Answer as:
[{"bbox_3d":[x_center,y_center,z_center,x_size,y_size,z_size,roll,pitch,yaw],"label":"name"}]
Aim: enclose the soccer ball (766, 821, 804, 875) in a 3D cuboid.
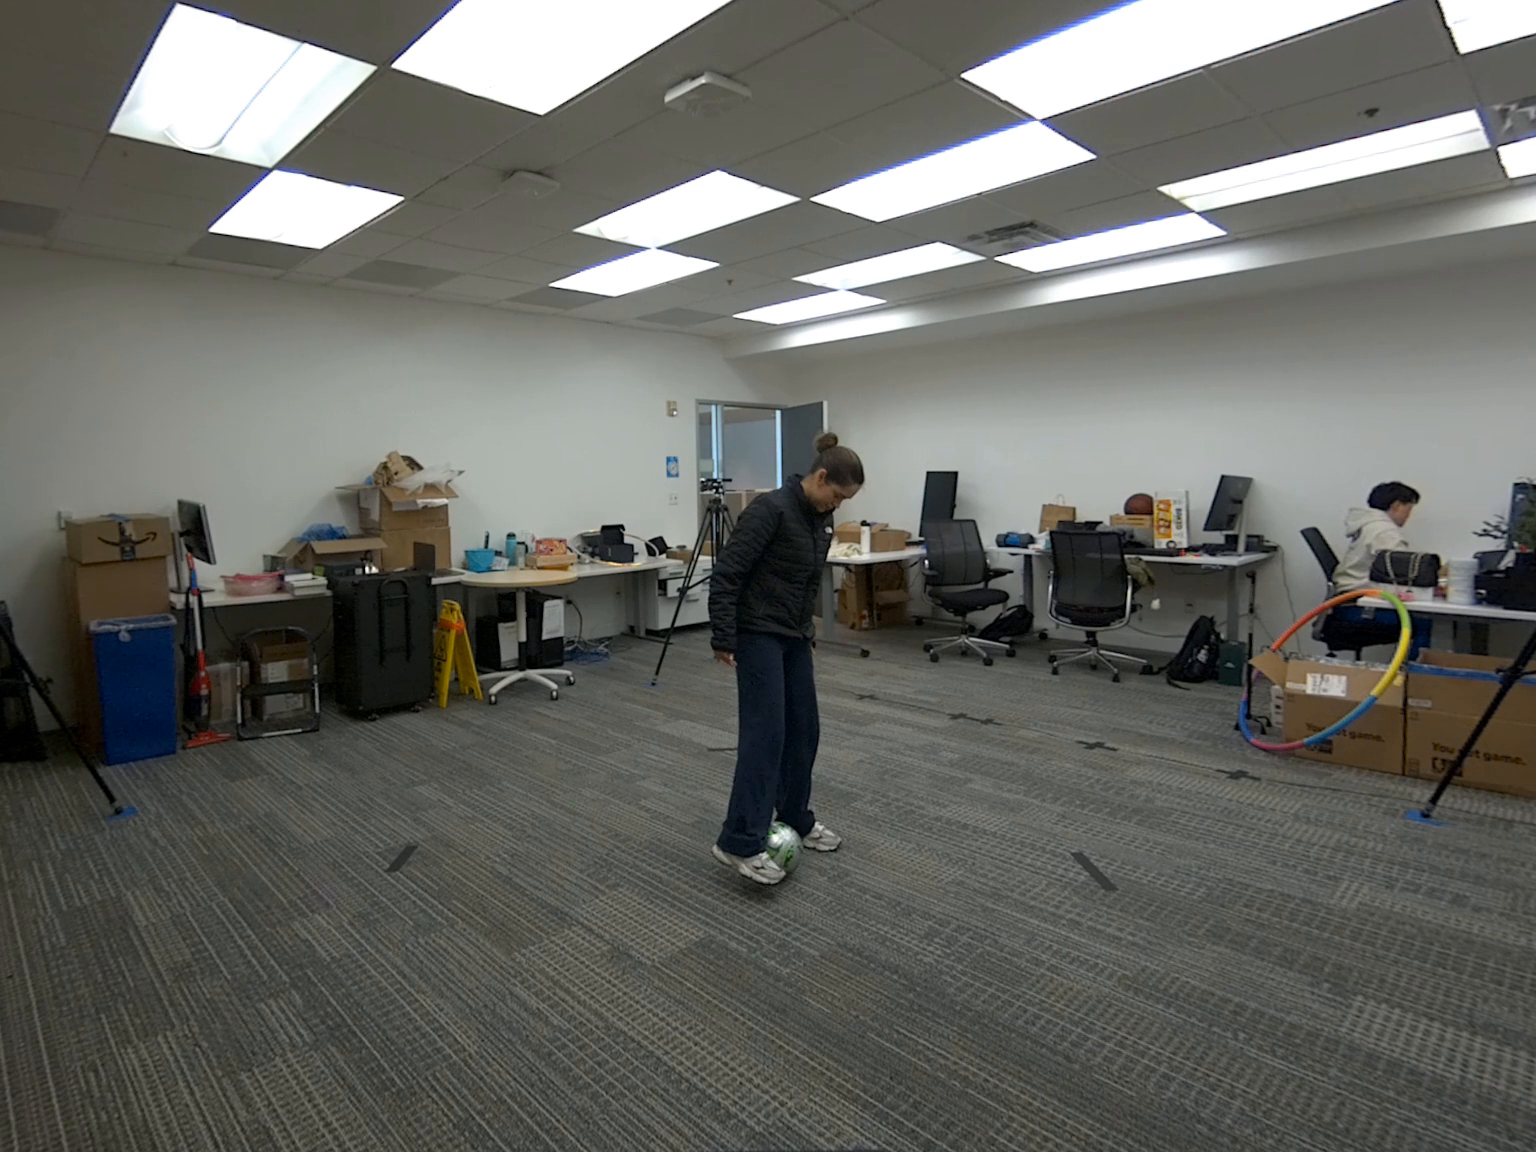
[{"bbox_3d":[0.033,0.961,3.005,0.187,0.187,0.188,-1,5,-2],"label":"soccer ball"}]
